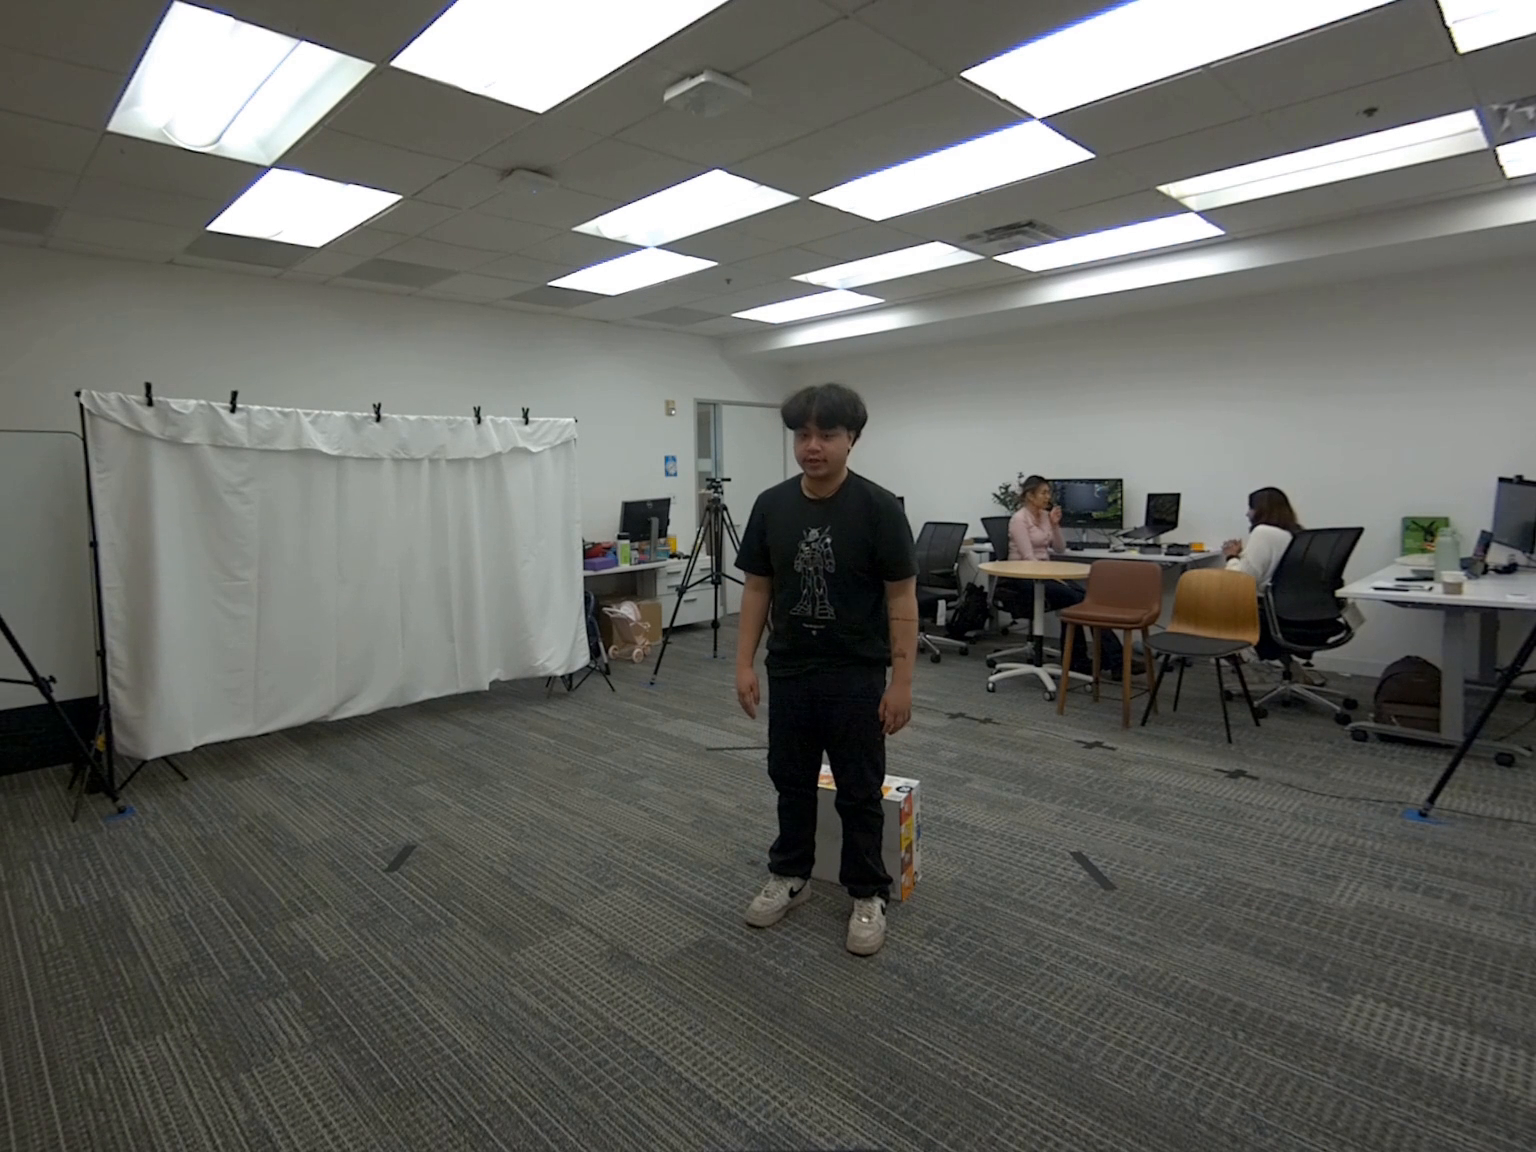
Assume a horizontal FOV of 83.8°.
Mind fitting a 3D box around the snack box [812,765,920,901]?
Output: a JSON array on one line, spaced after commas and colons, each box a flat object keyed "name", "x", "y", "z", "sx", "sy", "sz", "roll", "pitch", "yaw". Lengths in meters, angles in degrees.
[{"name": "snack box", "x": 0.308, "y": 0.879, "z": 2.980, "sx": 0.416, "sy": 0.339, "sz": 0.201, "roll": 2, "pitch": 5, "yaw": 30}]
